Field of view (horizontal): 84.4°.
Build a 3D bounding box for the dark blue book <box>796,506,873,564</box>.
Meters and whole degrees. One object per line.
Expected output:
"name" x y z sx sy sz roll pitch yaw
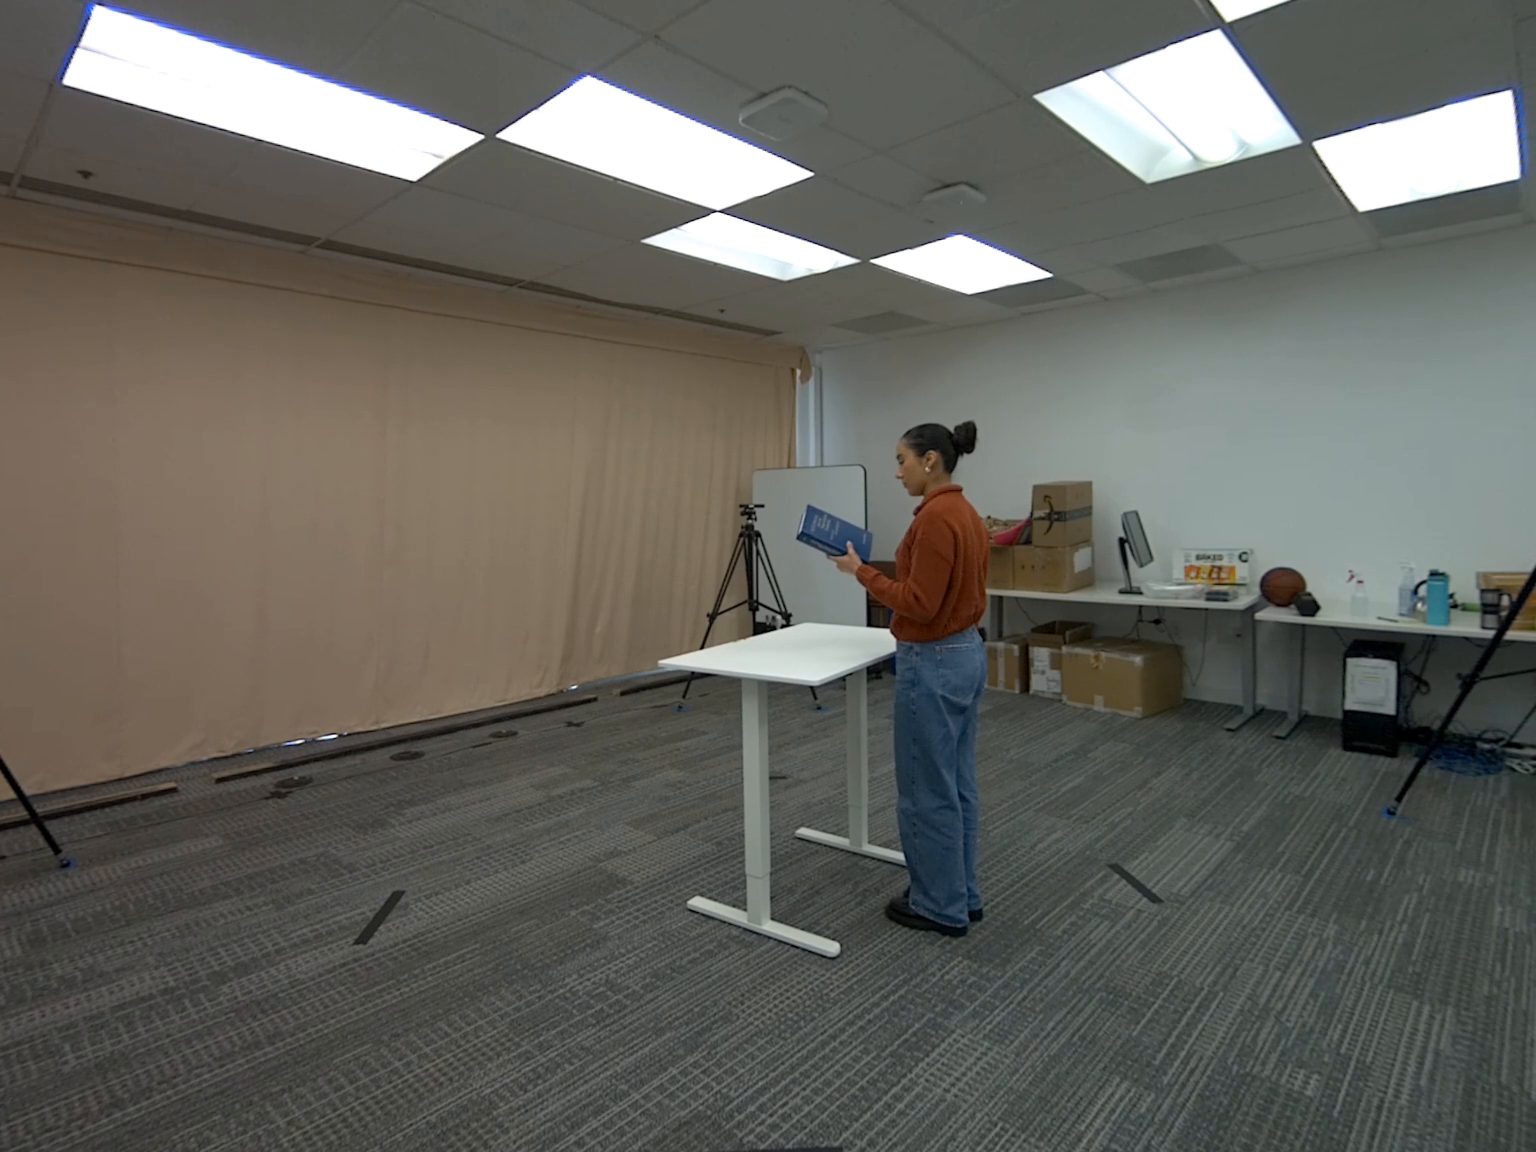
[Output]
"dark blue book" 0.231 -0.130 2.777 0.245 0.045 0.164 22 38 -2
